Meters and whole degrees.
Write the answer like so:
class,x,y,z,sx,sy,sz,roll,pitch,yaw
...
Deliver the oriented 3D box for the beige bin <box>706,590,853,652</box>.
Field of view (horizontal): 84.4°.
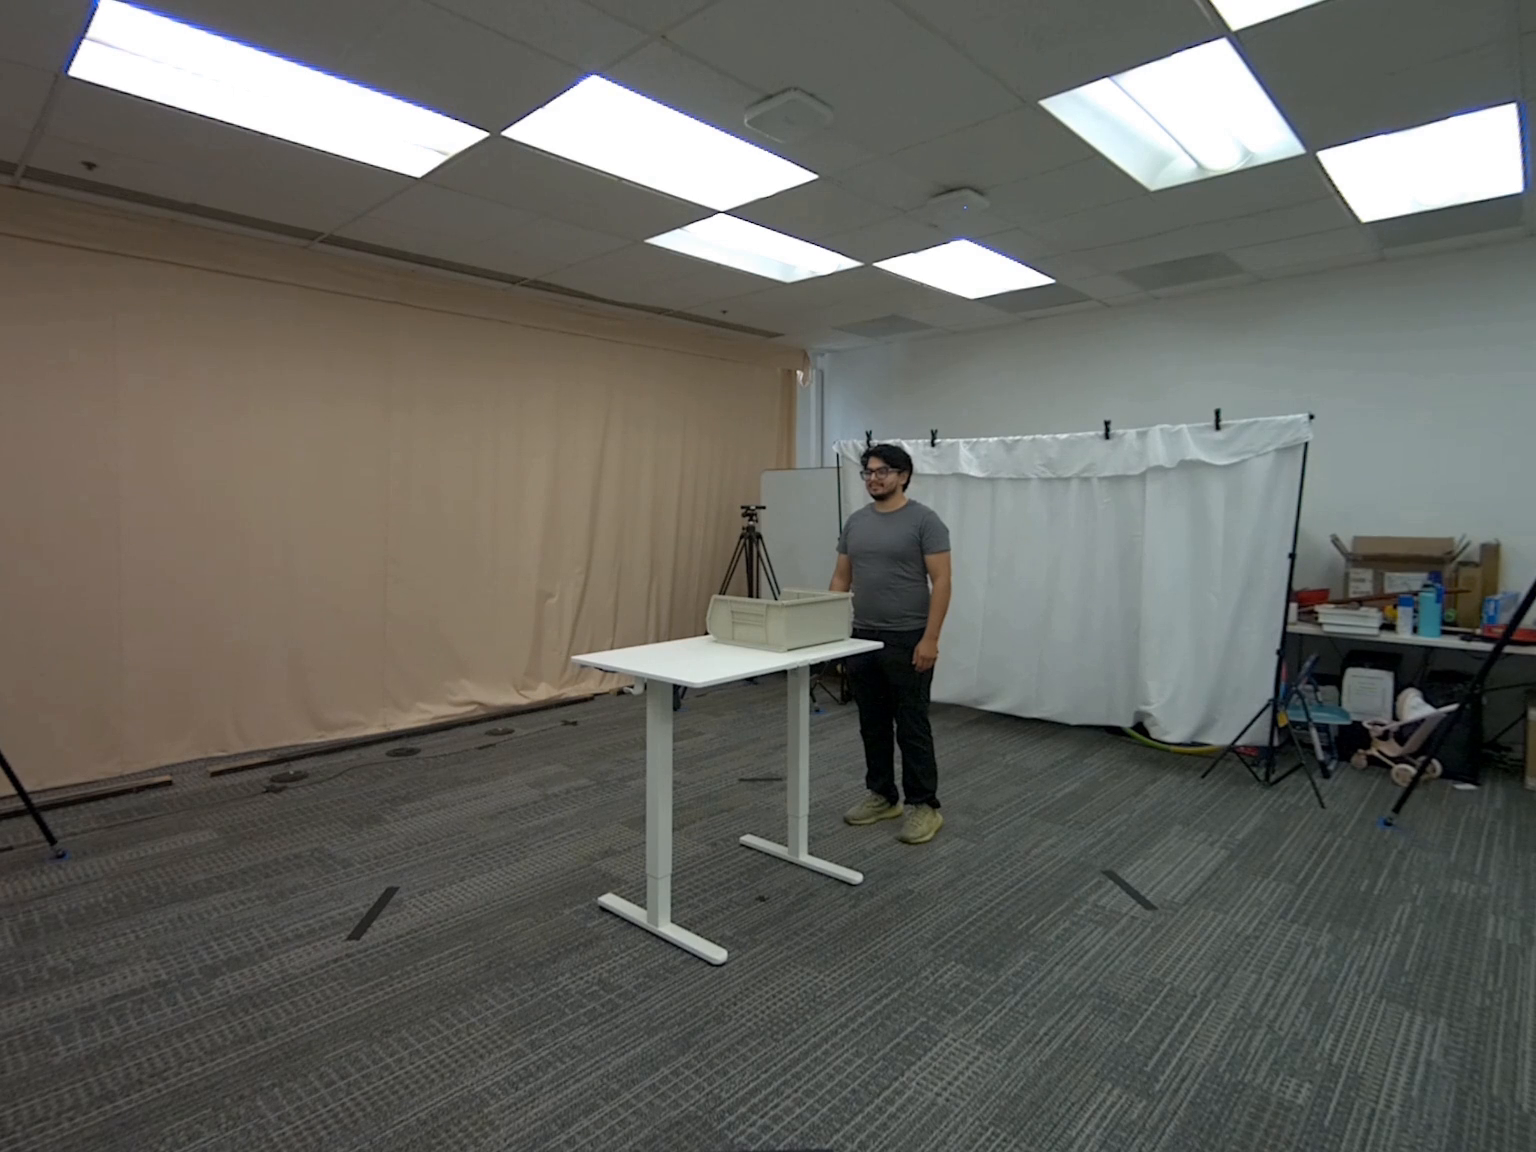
class,x,y,z,sx,sy,sz,roll,pitch,yaw
beige bin,0.046,0.157,3.174,0.390,0.188,0.409,5,6,42
